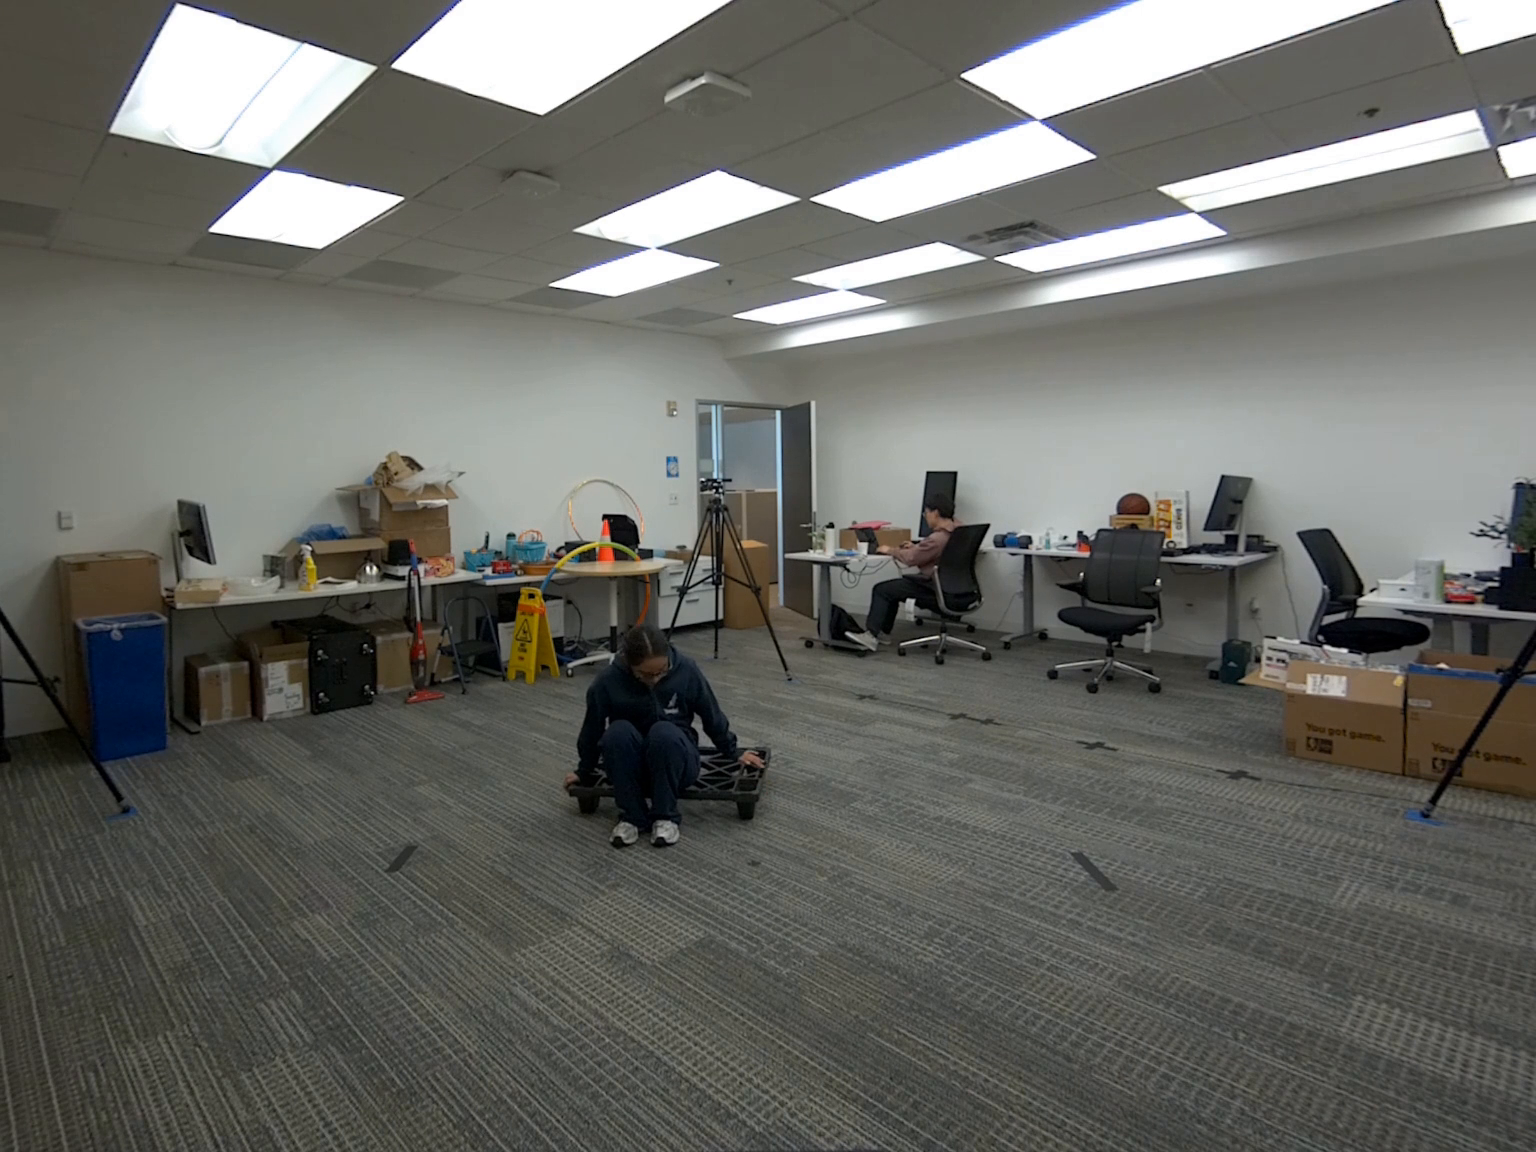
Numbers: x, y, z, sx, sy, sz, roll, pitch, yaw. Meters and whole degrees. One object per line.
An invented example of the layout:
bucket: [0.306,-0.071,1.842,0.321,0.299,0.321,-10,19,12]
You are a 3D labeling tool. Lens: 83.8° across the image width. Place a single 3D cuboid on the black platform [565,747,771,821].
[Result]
black platform: [-0.404,0.906,3.793,0.812,0.143,0.603,0,5,7]
